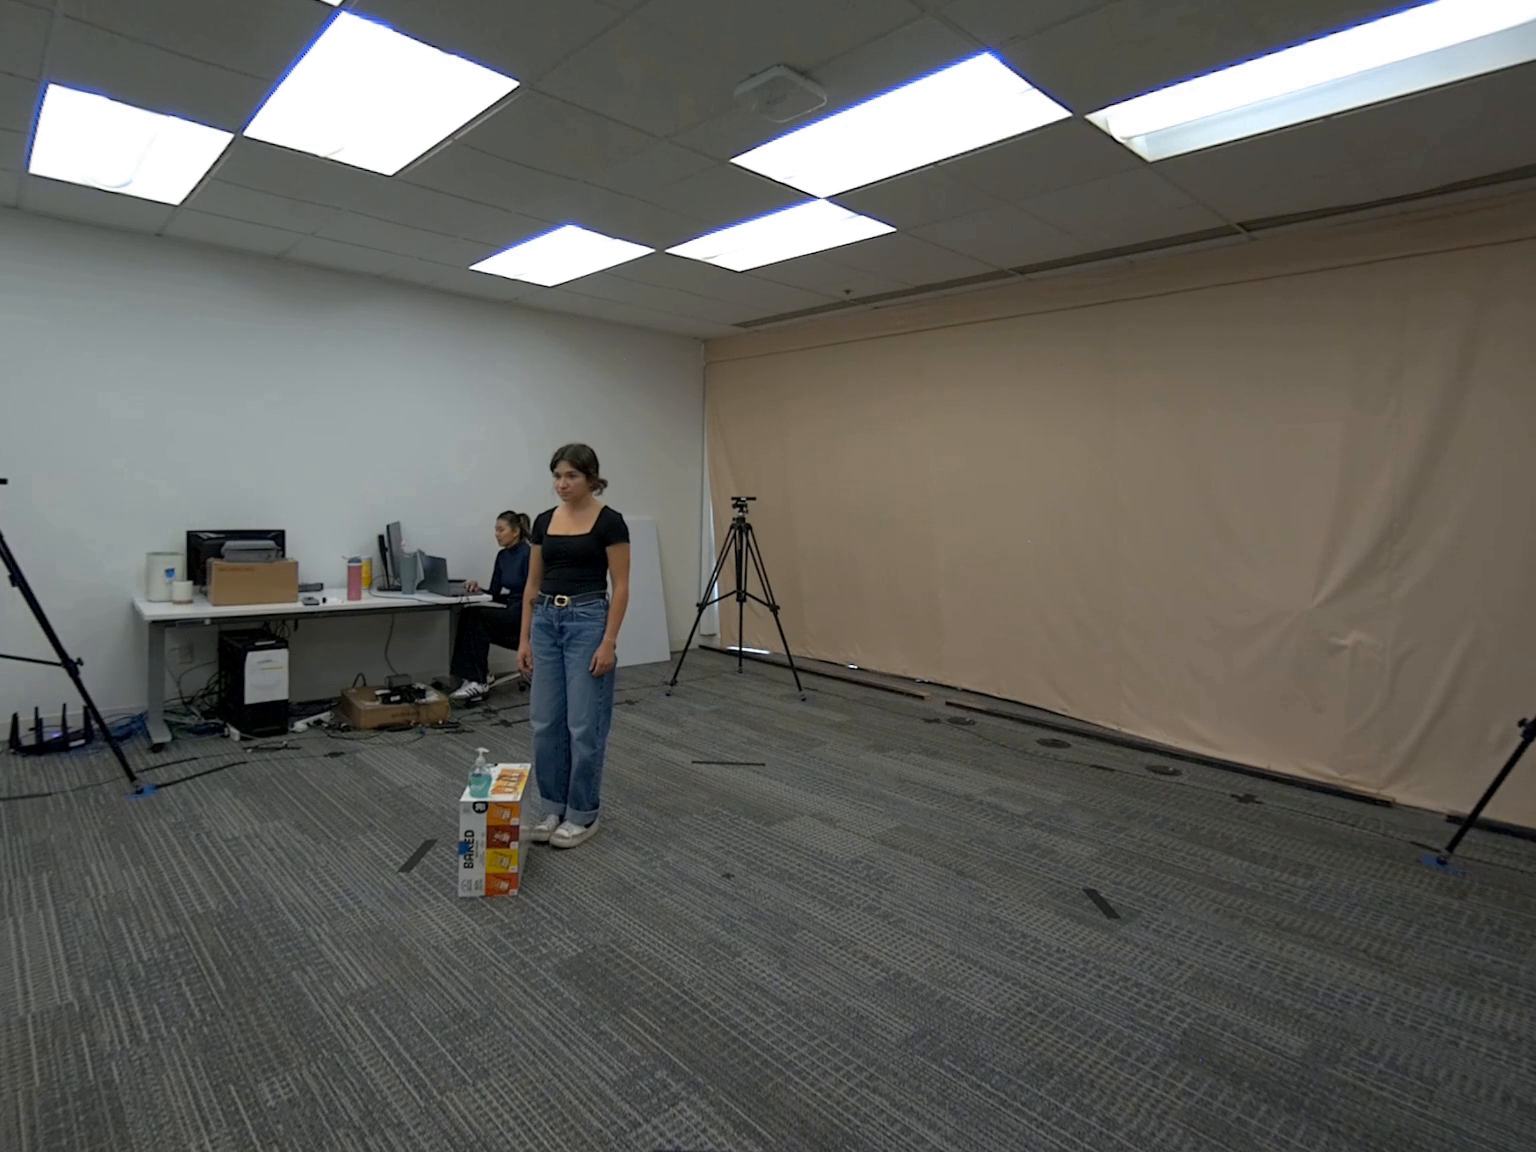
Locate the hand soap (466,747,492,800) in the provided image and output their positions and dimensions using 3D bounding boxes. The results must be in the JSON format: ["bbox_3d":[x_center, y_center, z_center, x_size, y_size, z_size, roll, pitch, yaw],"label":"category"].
[{"bbox_3d":[-1.014,0.684,2.917,0.085,0.167,0.043,3,5,2],"label":"hand soap"}]
